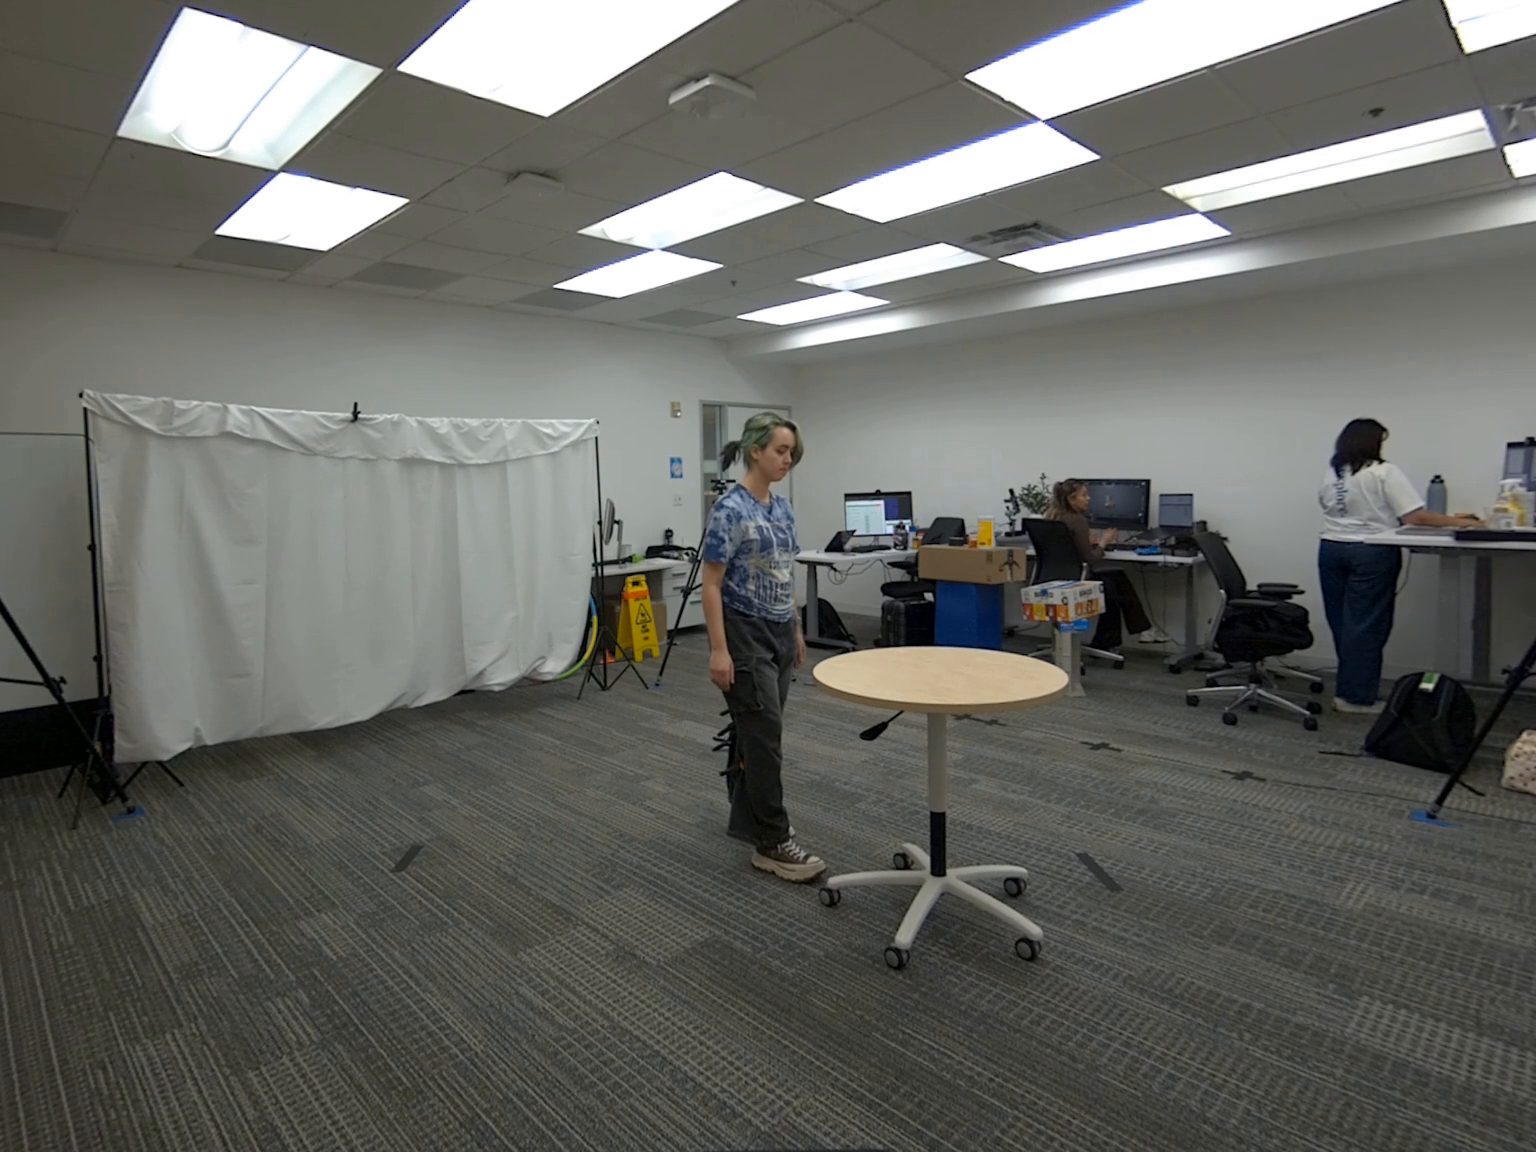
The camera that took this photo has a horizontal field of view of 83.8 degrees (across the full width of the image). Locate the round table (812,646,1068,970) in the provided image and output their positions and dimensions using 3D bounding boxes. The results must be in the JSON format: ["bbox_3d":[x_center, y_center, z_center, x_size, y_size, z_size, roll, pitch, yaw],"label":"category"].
[{"bbox_3d":[0.540,0.696,2.679,0.763,0.790,0.768,-1,5,-2],"label":"round table"}]
